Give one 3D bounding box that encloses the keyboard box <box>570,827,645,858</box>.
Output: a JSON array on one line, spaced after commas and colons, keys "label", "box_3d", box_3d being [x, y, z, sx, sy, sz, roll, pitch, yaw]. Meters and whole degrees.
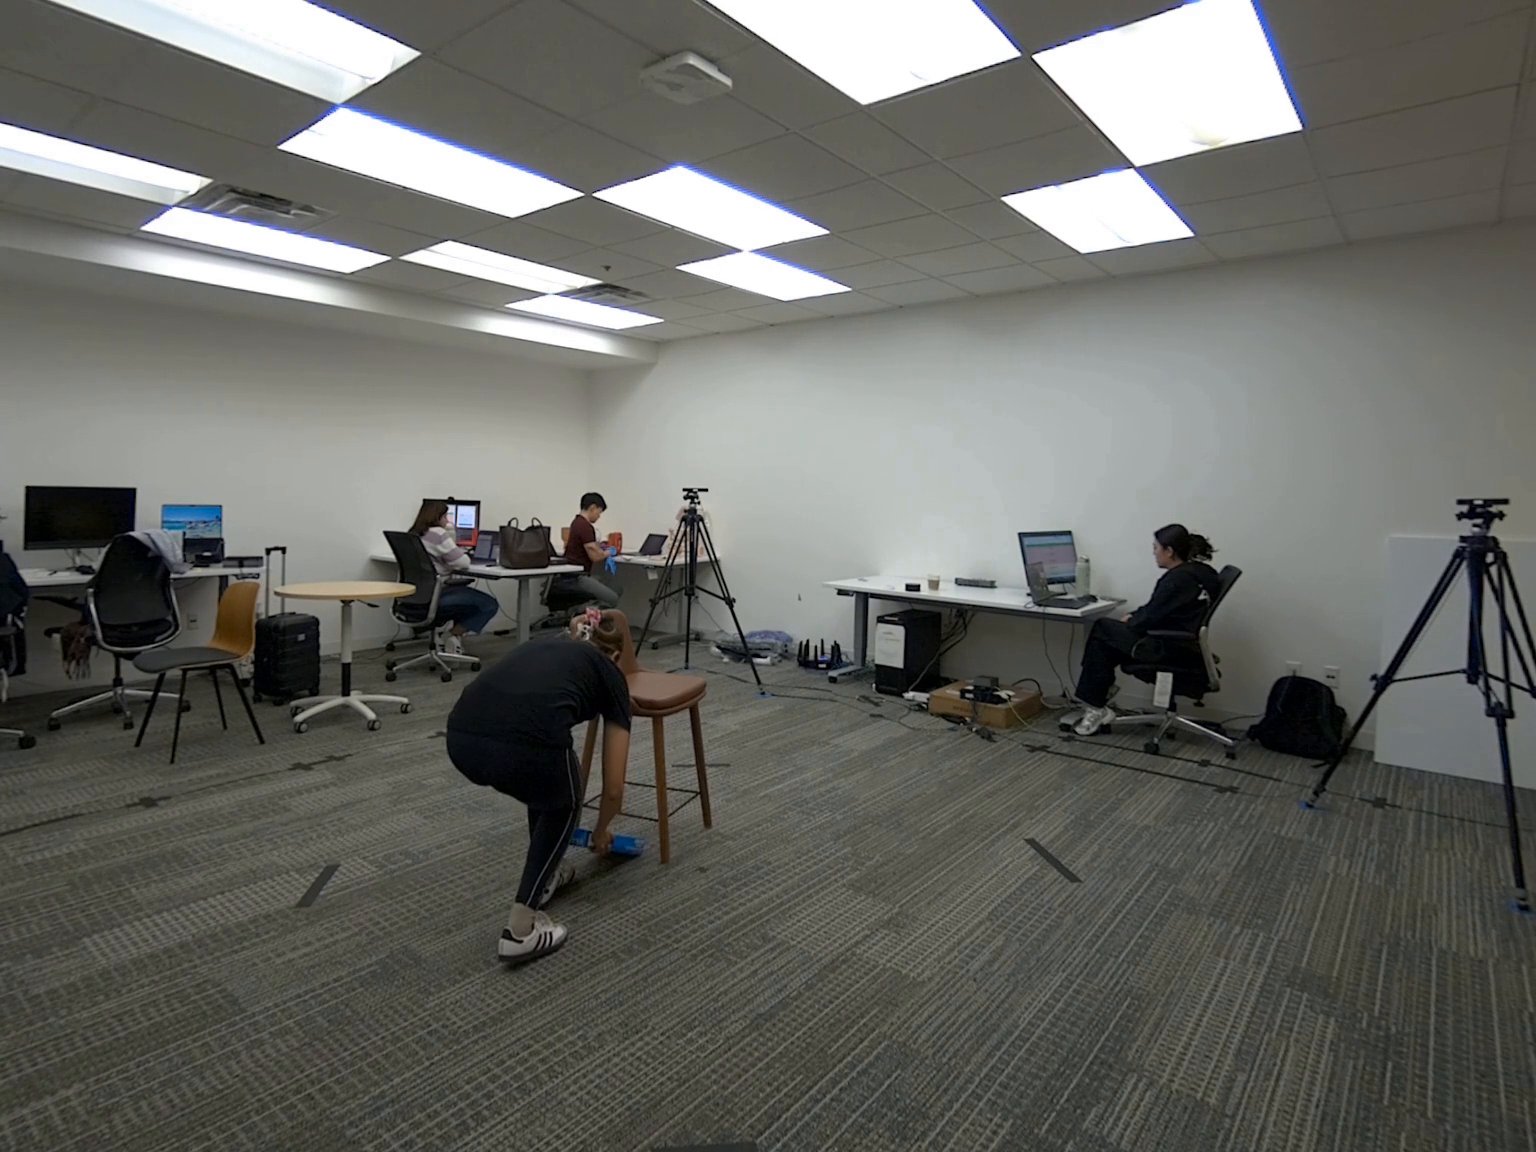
[{"label": "keyboard box", "box_3d": [-0.630, 0.956, 3.073, 0.180, 0.060, 0.421, 2, -19, 21]}]
